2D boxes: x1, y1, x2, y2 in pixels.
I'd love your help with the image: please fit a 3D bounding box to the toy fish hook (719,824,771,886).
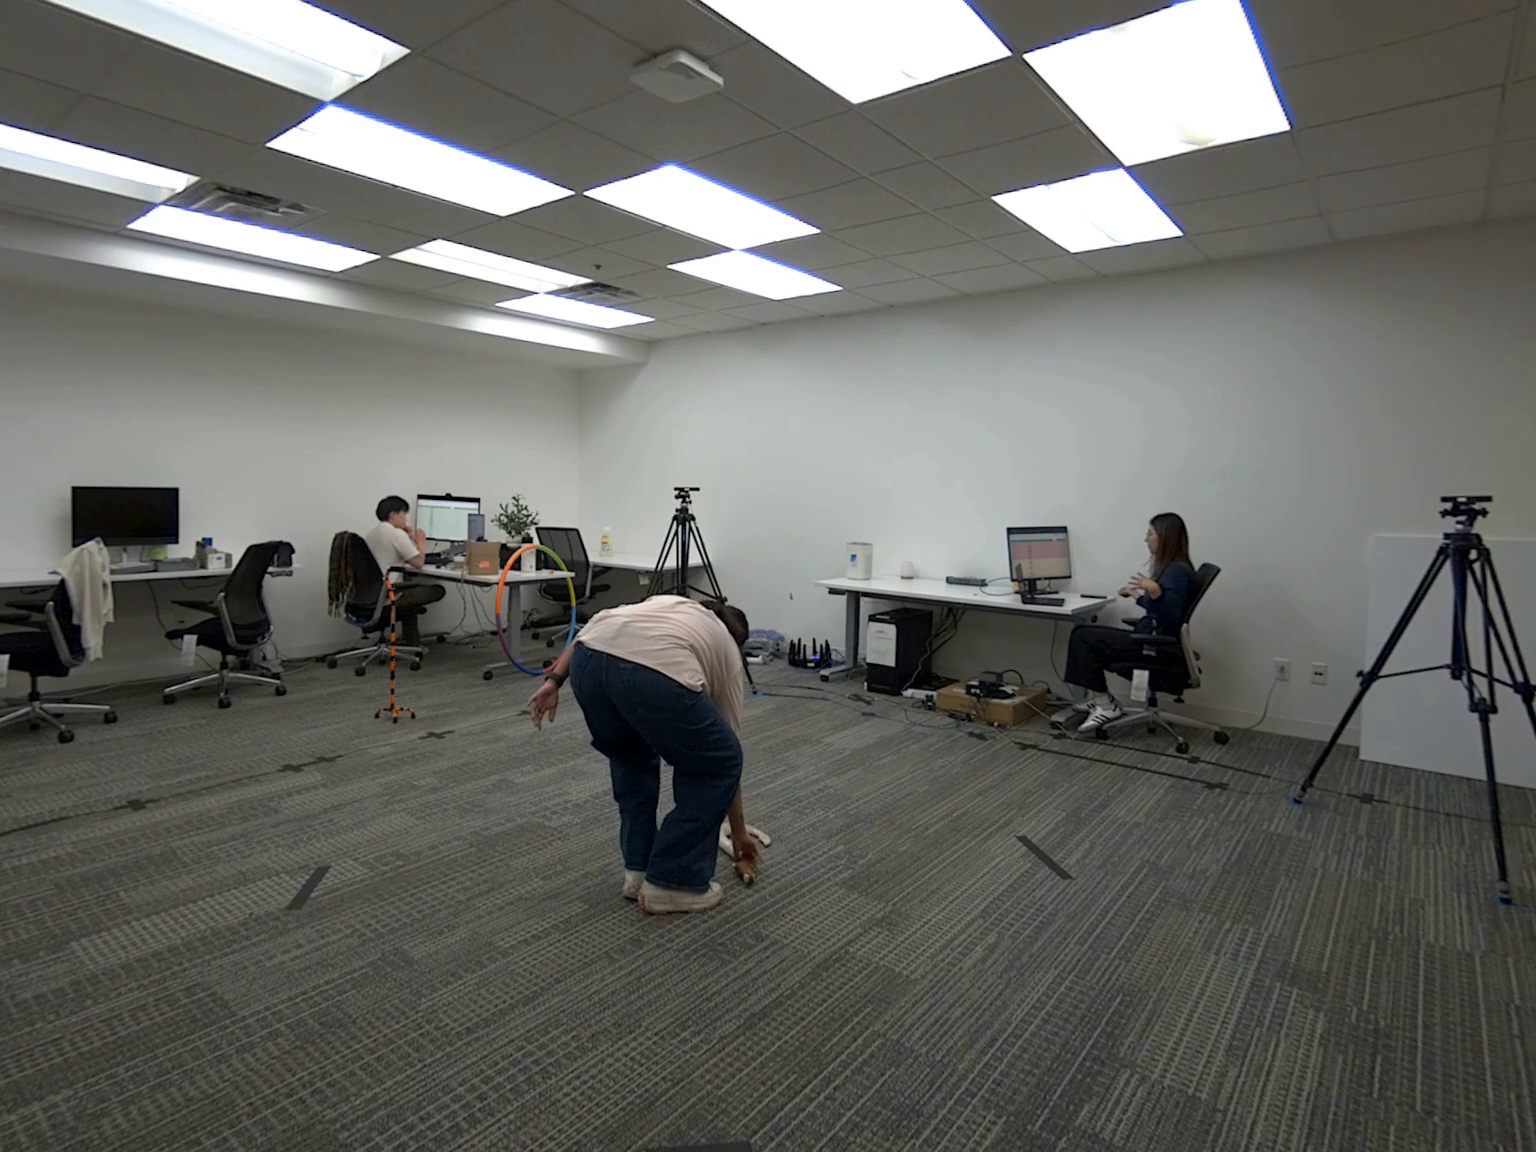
[{"bbox_3d":[-0.081,1.027,3.215,0.222,0.048,0.515,-2,6,-14],"label":"toy fish hook"}]
